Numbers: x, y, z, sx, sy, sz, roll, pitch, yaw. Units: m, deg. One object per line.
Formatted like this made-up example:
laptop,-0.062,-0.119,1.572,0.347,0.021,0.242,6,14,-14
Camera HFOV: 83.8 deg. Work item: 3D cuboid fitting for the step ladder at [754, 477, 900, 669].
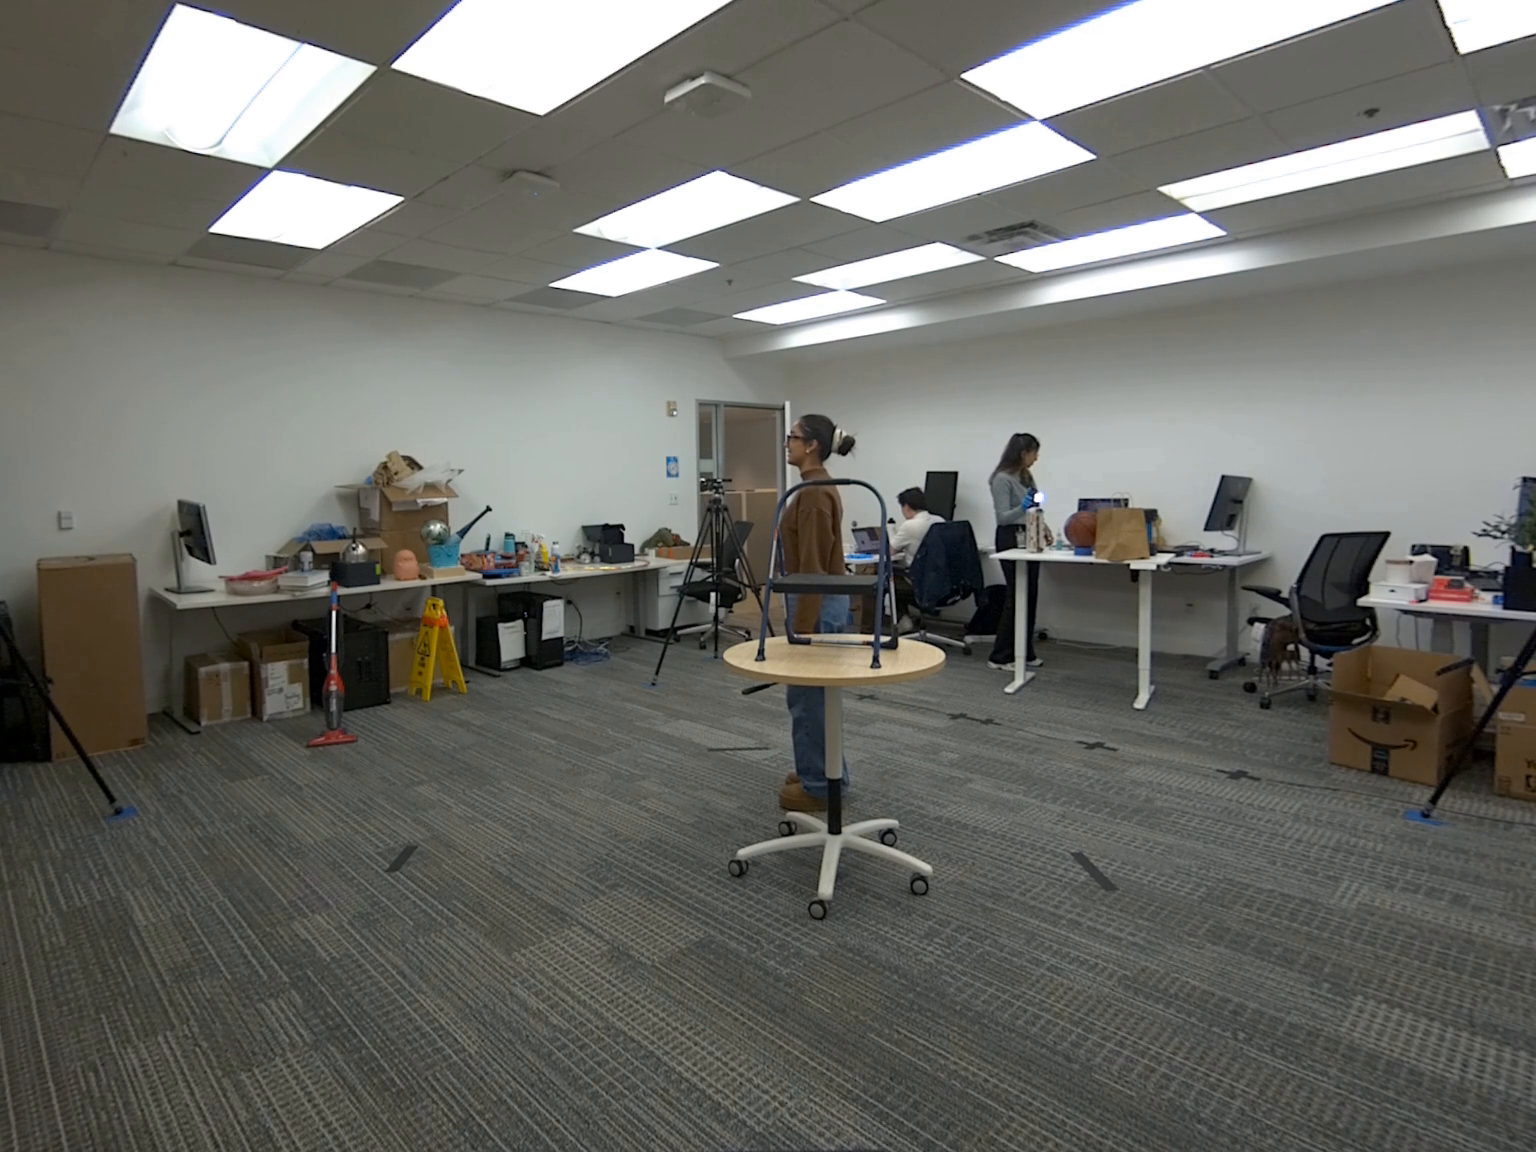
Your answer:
step ladder,0.209,-0.027,2.945,0.439,0.604,0.343,0,4,22
